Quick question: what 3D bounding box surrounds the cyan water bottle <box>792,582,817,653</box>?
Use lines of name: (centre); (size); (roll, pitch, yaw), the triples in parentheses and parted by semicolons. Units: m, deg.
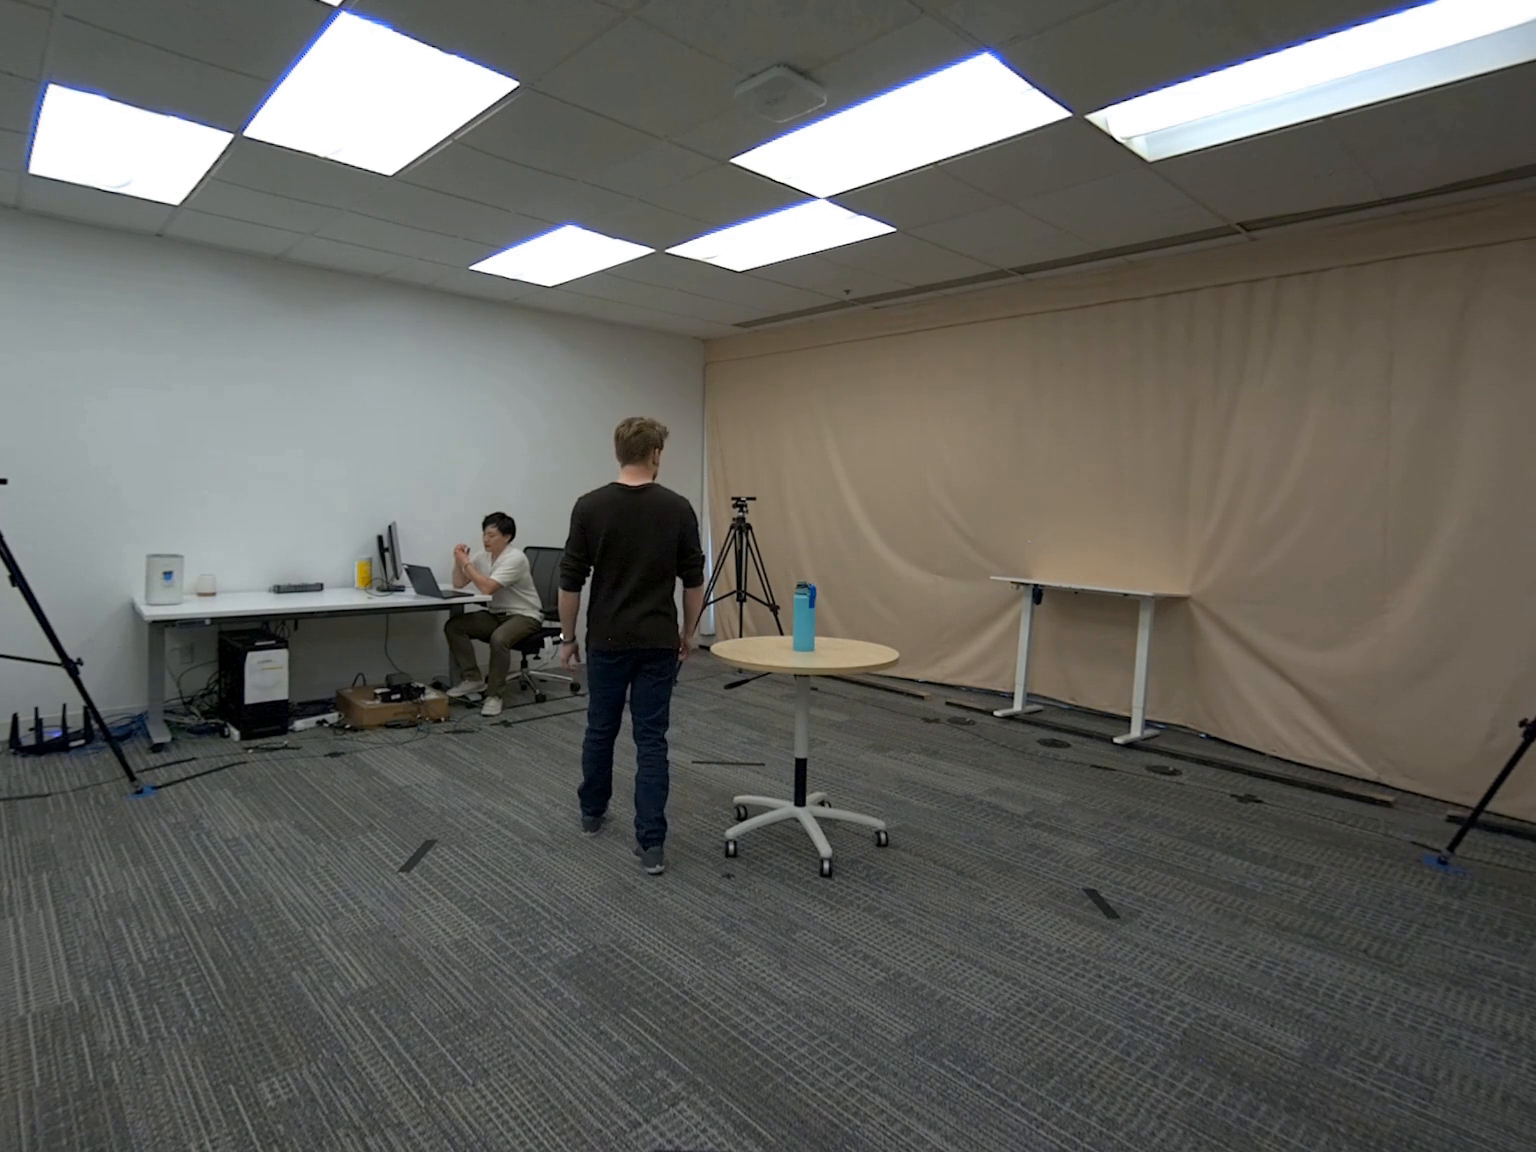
cyan water bottle: (0.141, 0.162, 3.446); (0.092, 0.283, 0.092); (1, 2, -1)
